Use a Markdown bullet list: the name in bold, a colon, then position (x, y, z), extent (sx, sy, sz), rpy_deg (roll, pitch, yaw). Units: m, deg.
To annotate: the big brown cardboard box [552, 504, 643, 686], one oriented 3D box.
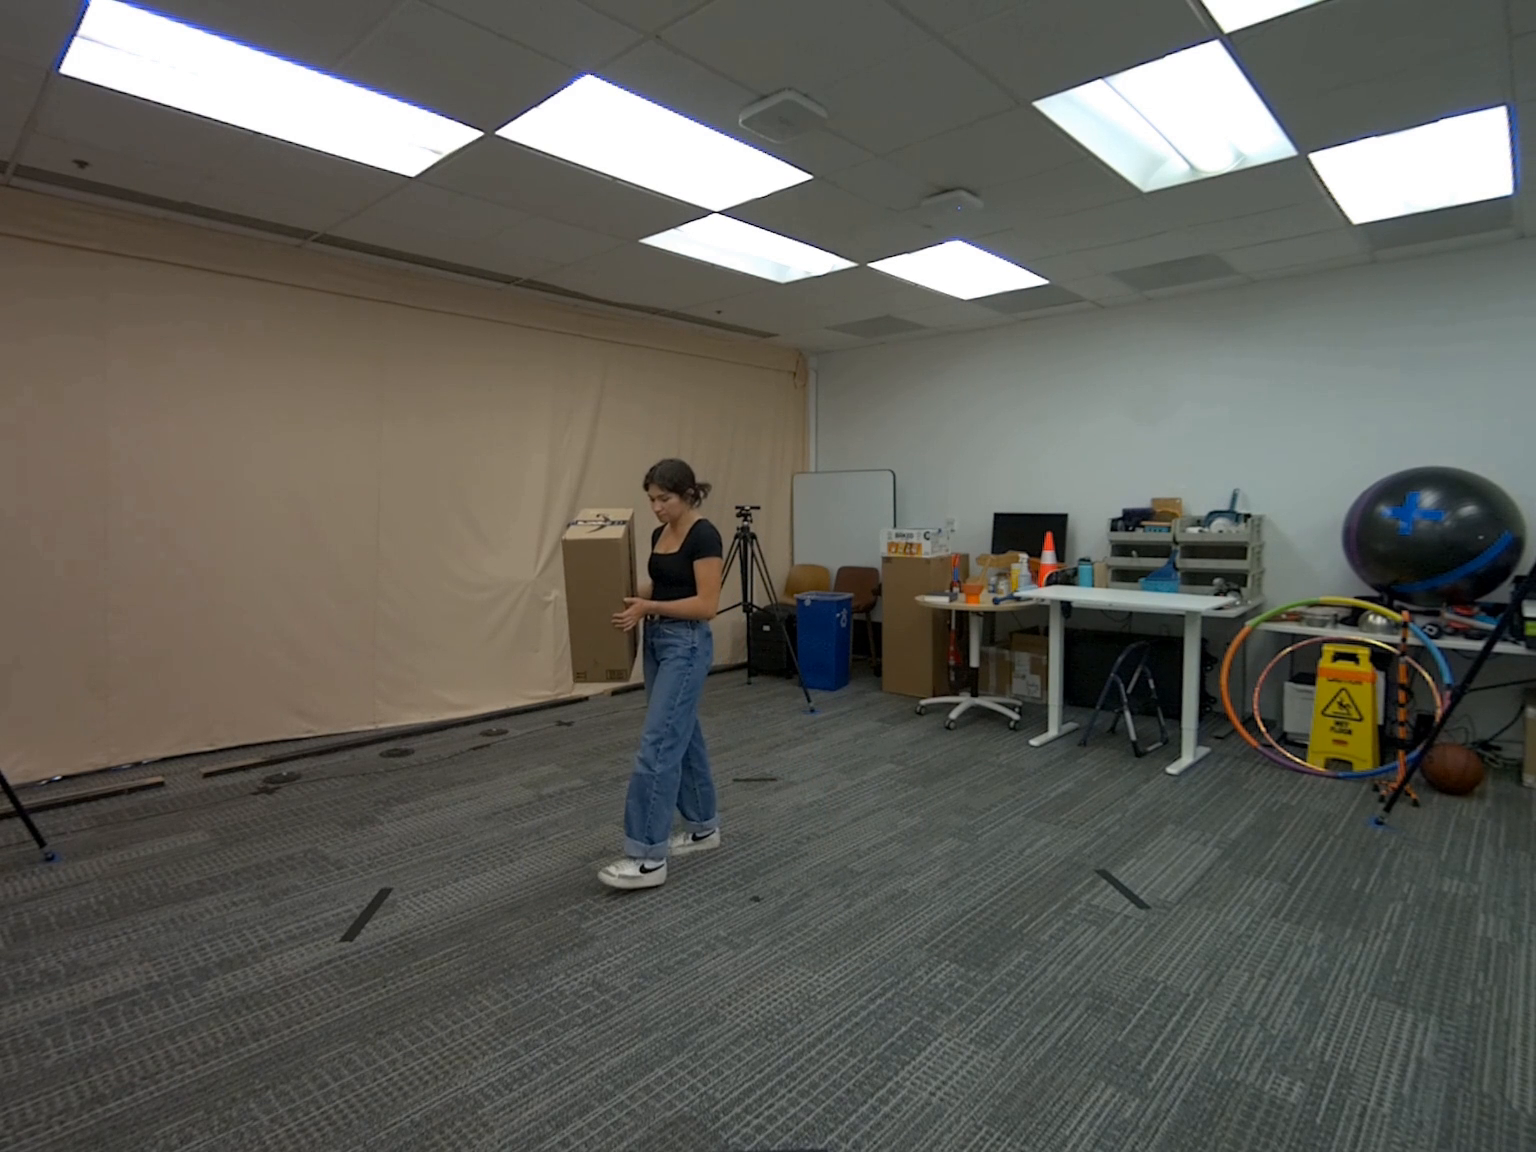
- **big brown cardboard box**: position (-0.645, 0.058, 3.278), extent (0.233, 0.583, 0.421), rpy_deg (-2, 16, 0)
